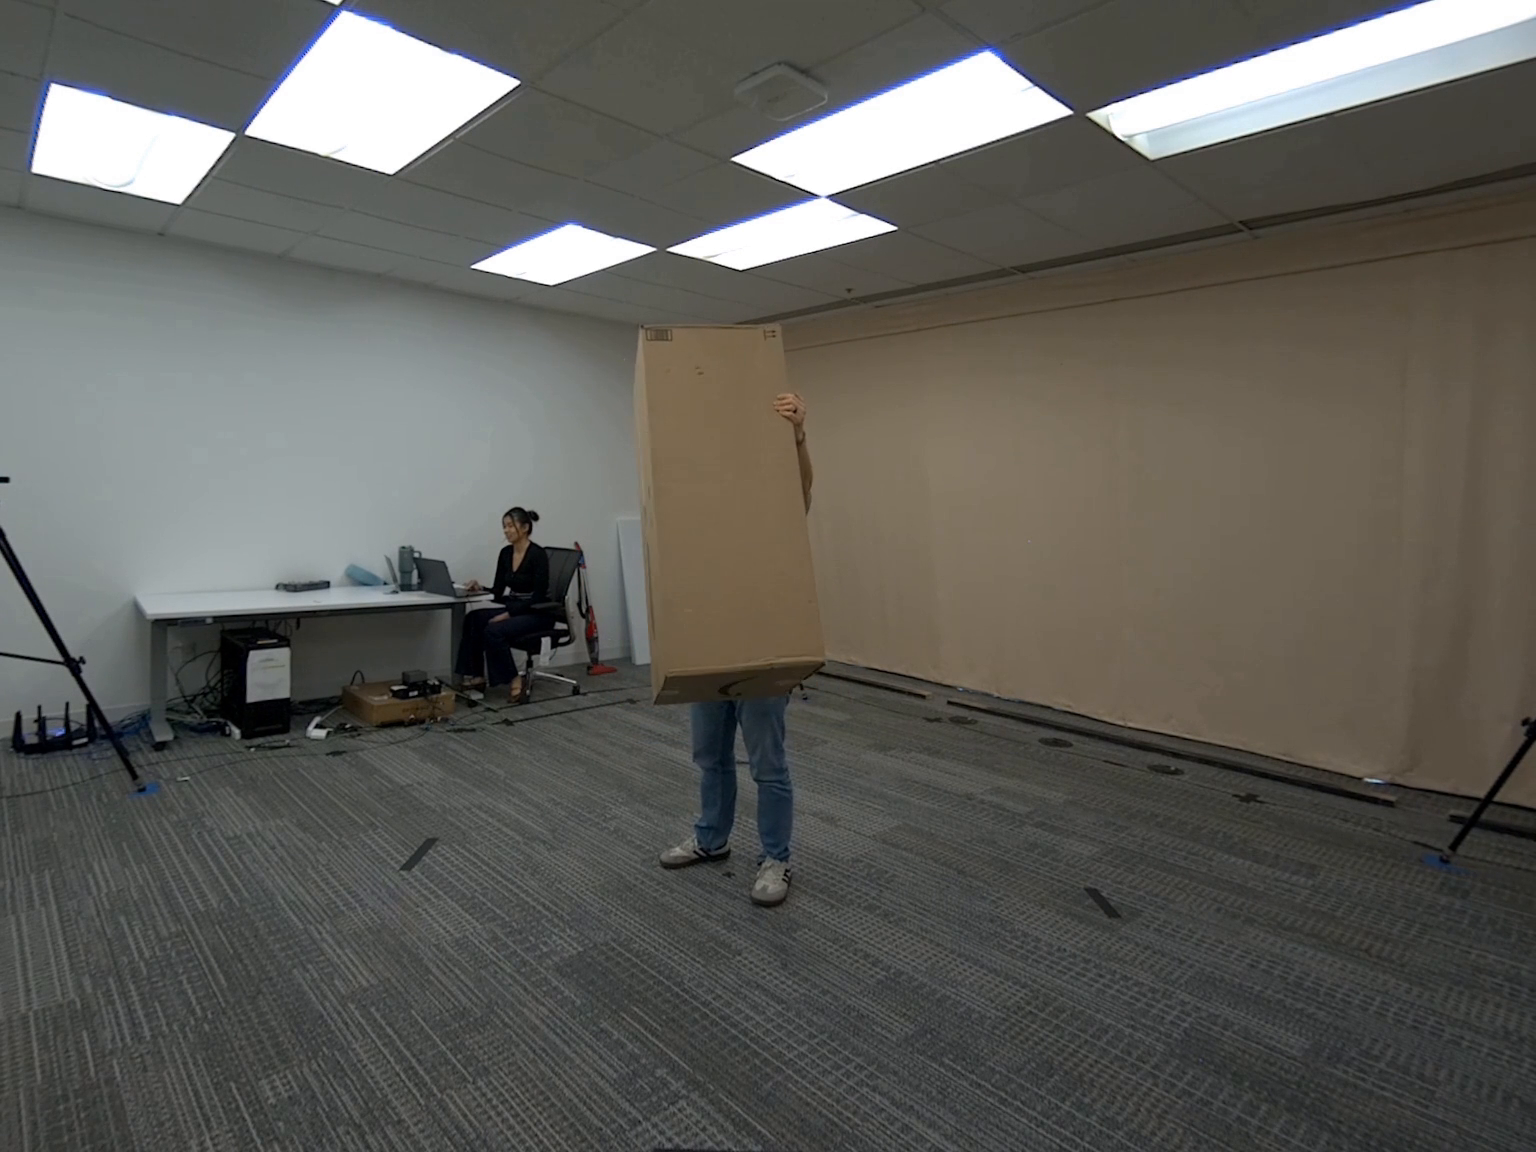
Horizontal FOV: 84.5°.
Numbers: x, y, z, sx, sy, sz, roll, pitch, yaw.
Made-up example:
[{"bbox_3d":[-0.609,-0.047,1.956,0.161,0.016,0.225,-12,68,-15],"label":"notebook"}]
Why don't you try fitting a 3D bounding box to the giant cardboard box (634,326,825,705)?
[{"bbox_3d":[-0.165,-0.165,2.575,0.422,1.041,0.574,-3,-18,-12],"label":"giant cardboard box"}]
